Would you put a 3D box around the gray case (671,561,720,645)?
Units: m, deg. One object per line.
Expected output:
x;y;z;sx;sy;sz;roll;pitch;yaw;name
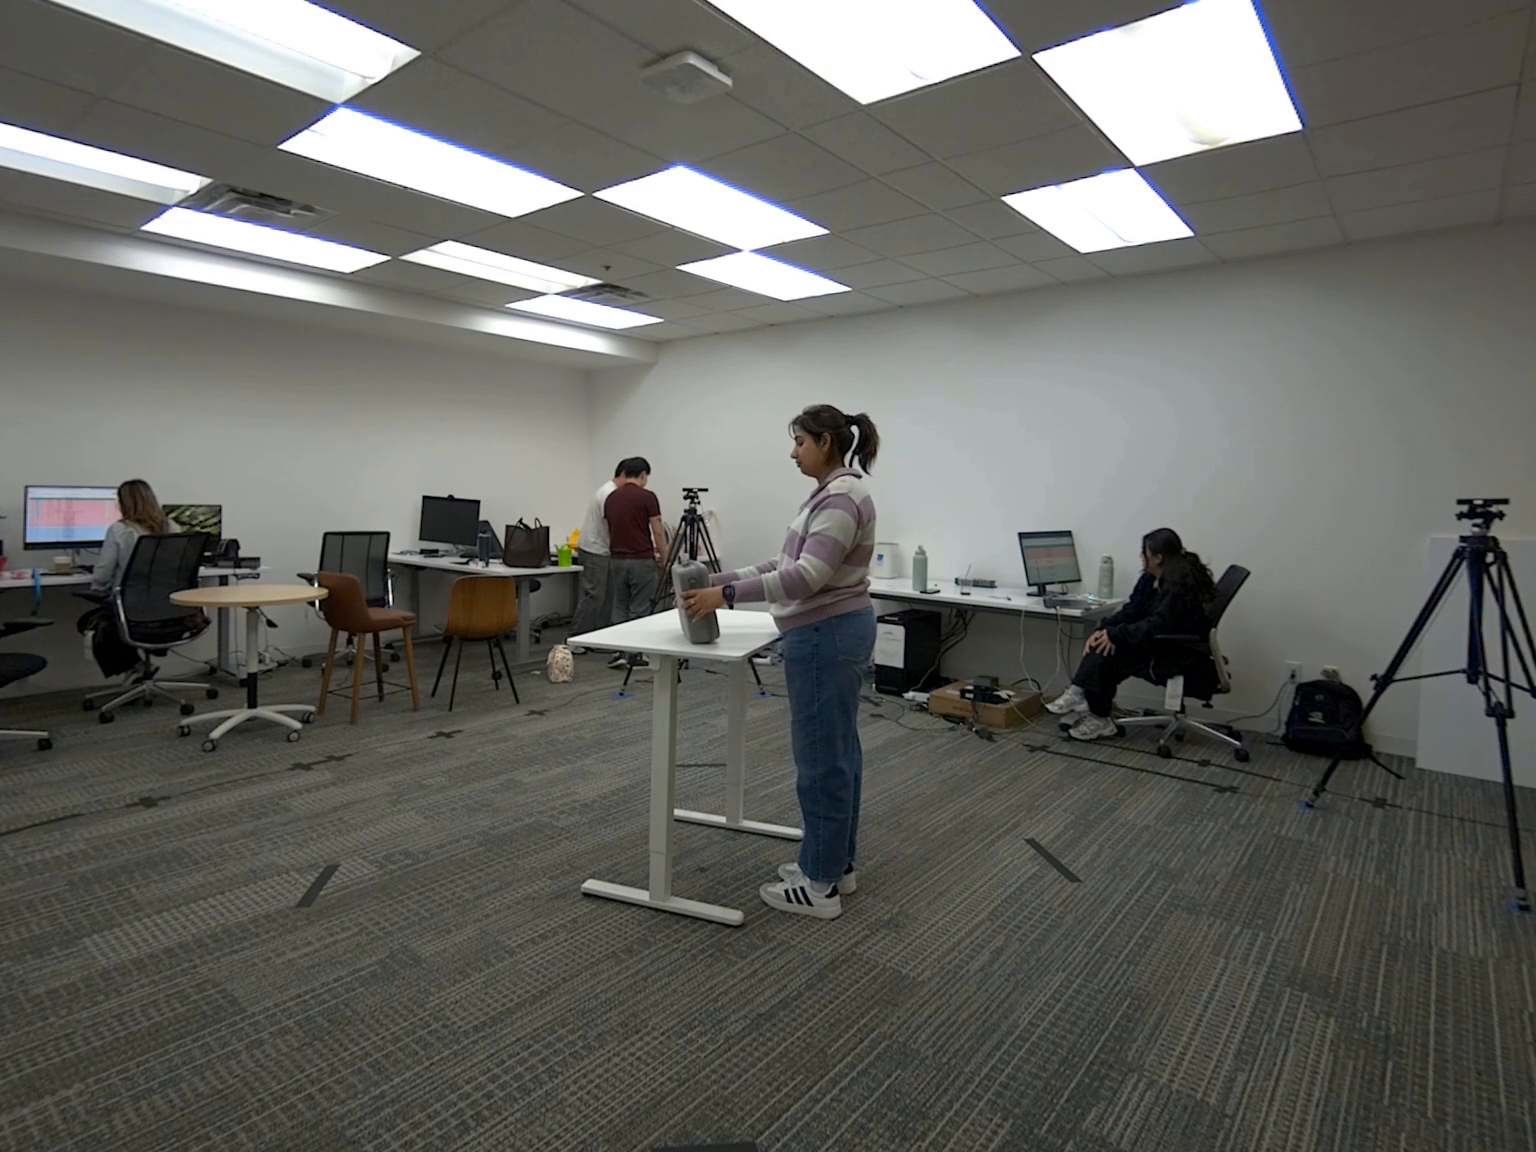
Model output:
-0.253;0.080;2.855;0.103;0.260;0.260;-9;4;-11;gray case
